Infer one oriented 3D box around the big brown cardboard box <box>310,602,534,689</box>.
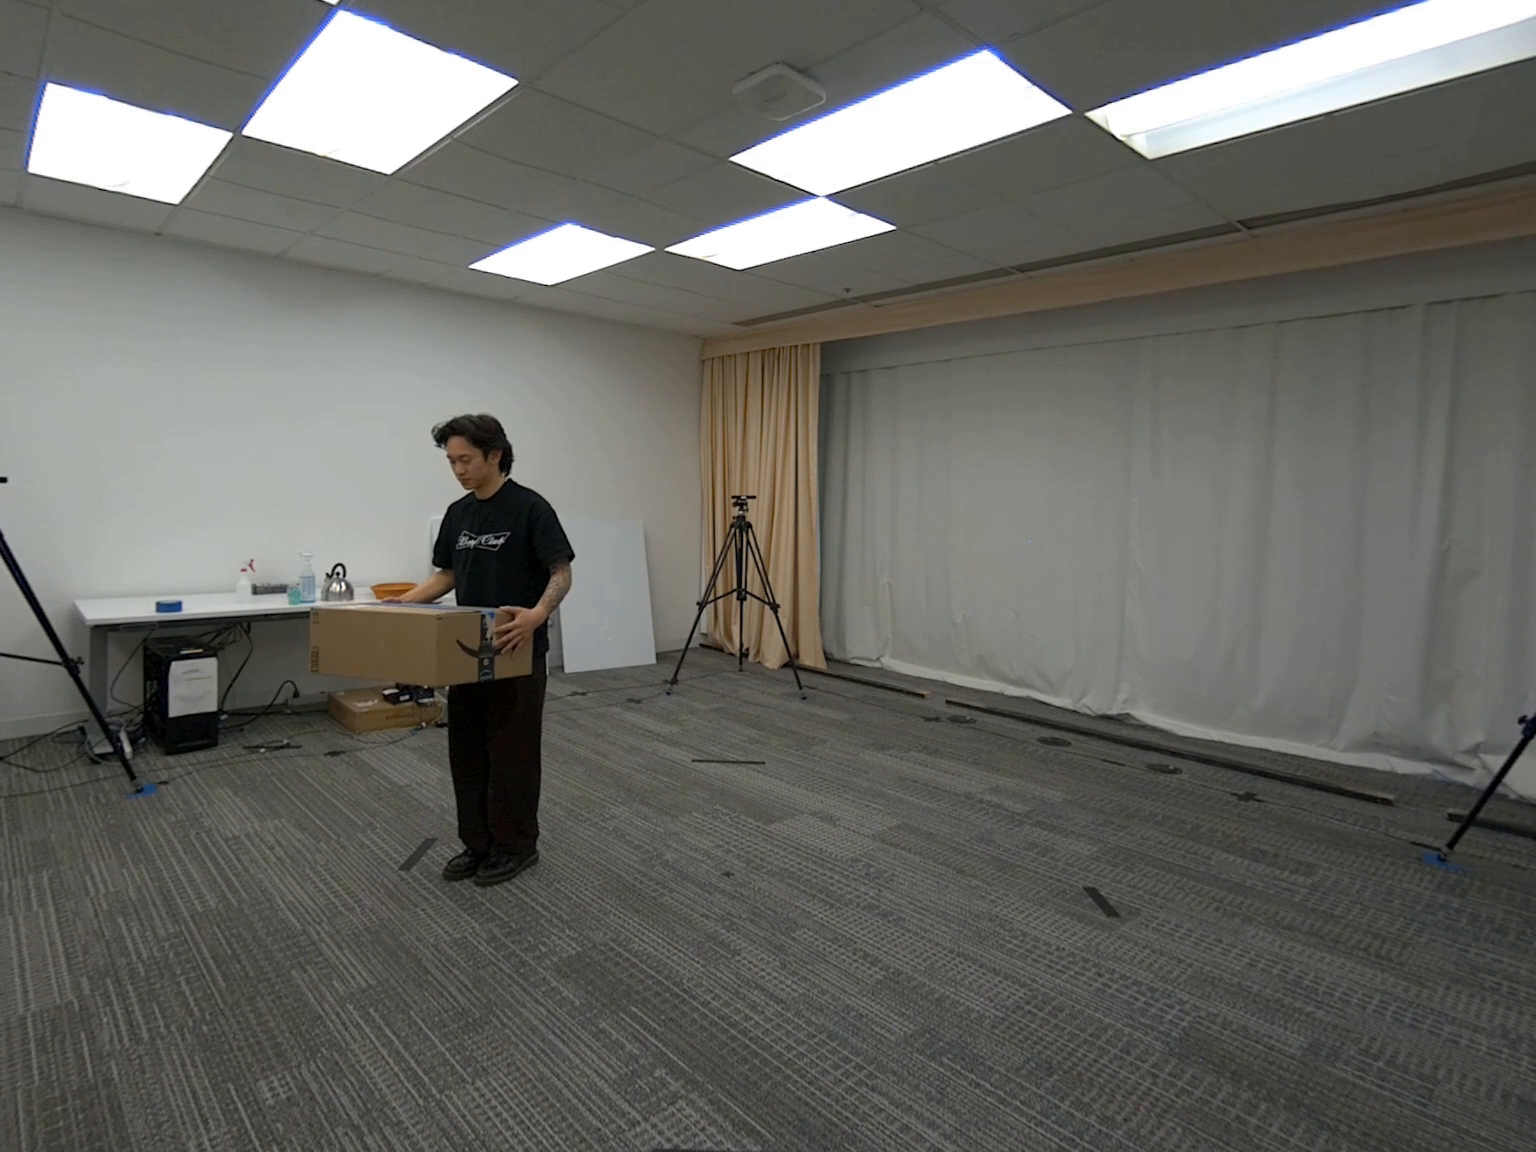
[{"bbox_3d":[-1.141,0.212,2.746,0.601,0.233,0.409,2,0,27],"label":"big brown cardboard box"}]
